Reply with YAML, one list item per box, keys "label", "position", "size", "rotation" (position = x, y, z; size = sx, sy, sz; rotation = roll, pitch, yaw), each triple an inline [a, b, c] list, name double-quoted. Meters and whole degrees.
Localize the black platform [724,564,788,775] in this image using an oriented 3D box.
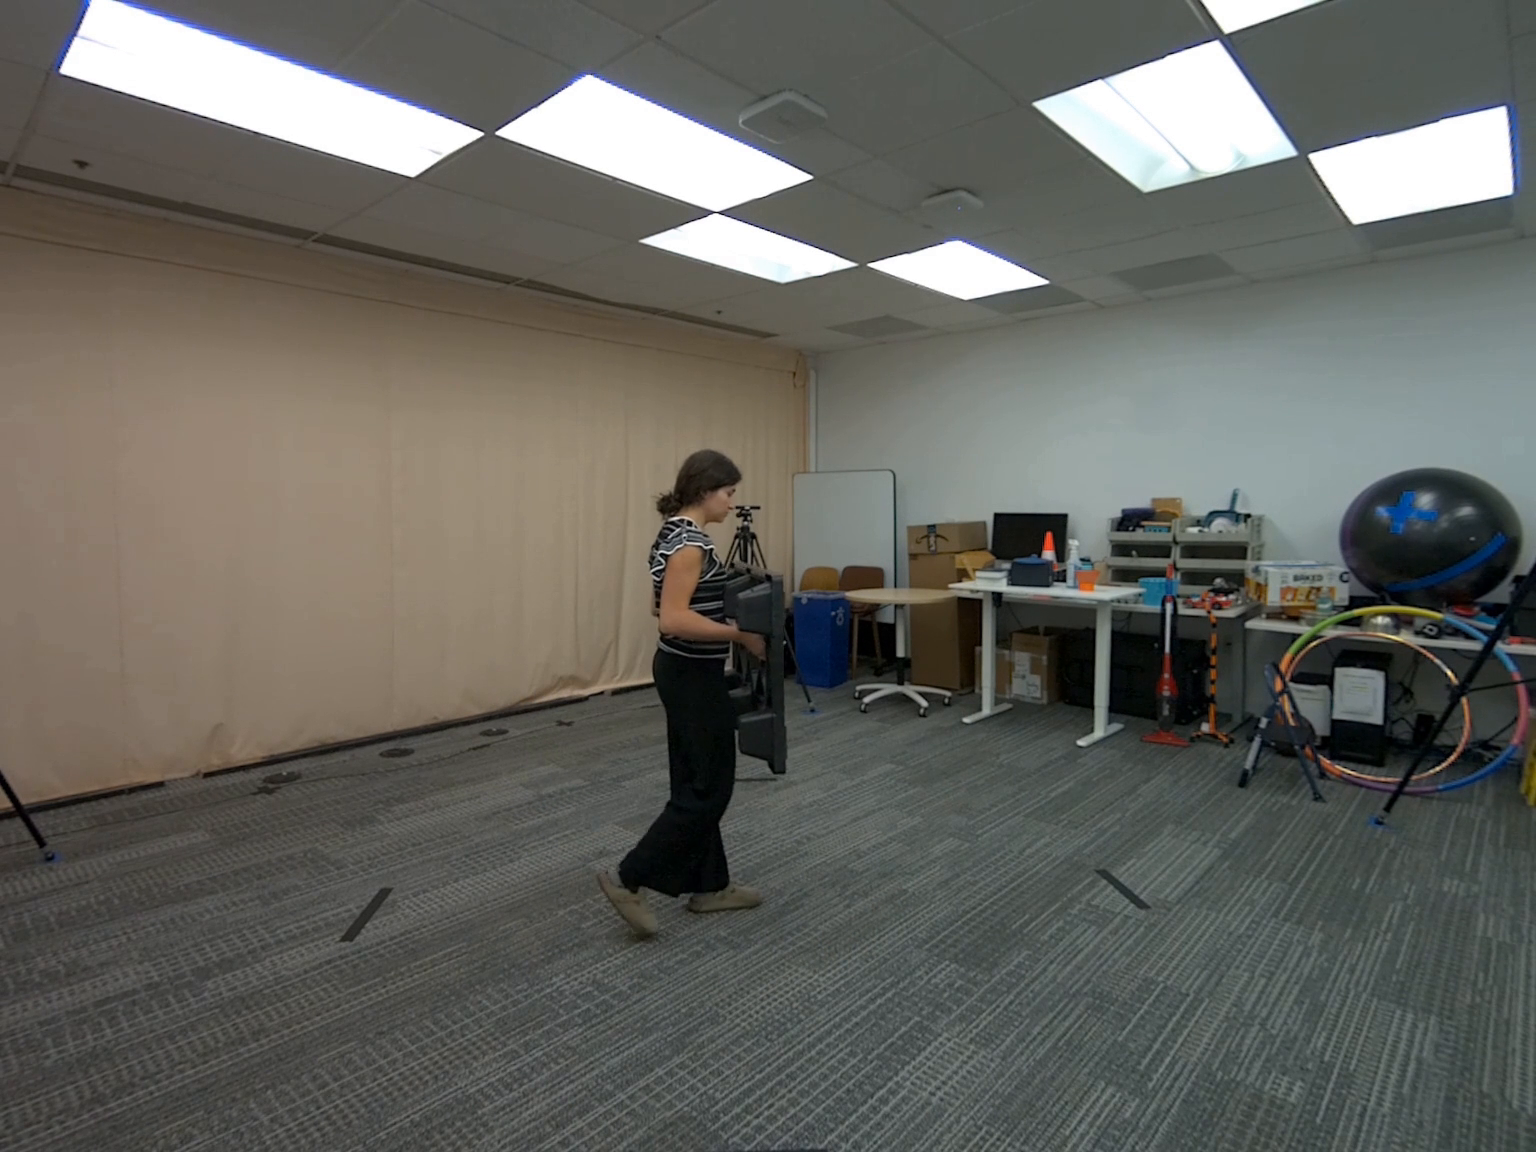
- label: "black platform"
  position: [-0.083, 0.269, 2.873]
  size: [0.142, 0.604, 0.816]
  rotation: [-1, 4, -12]
